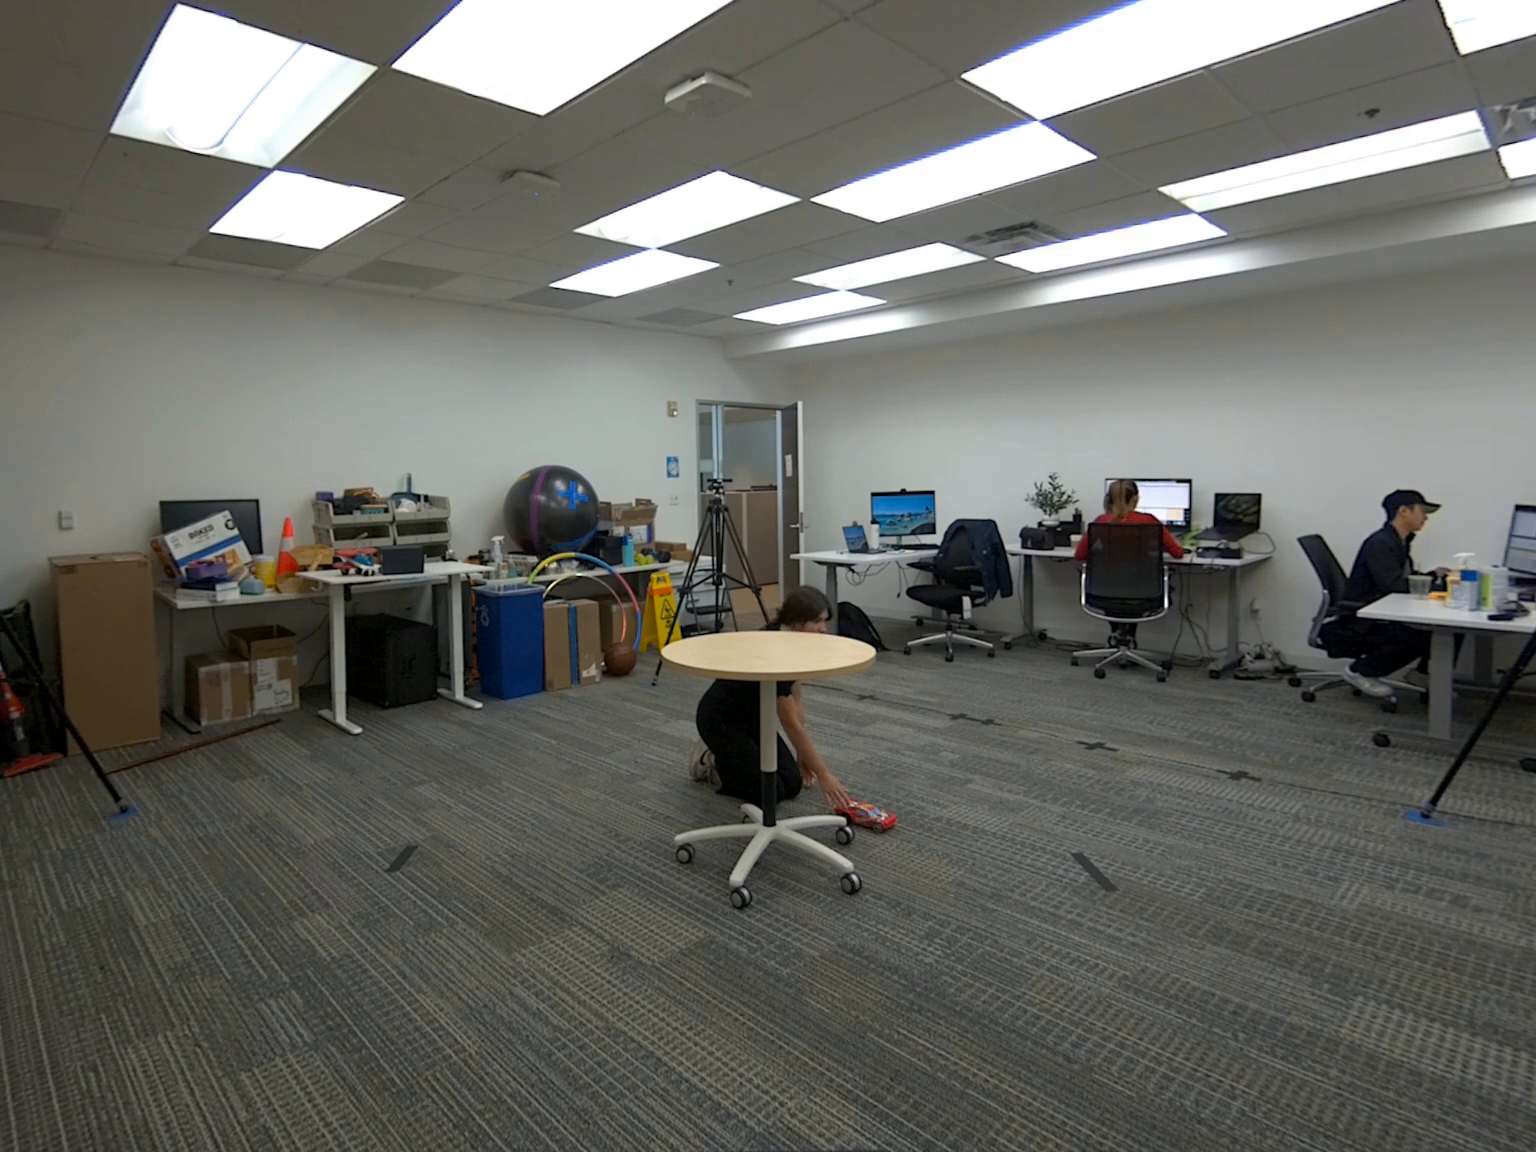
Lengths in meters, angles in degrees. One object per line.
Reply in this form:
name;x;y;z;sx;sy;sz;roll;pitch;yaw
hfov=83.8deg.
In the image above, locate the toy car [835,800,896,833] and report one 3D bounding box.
toy car;0.386;0.969;3.456;0.263;0.082;0.127;17;16;37
